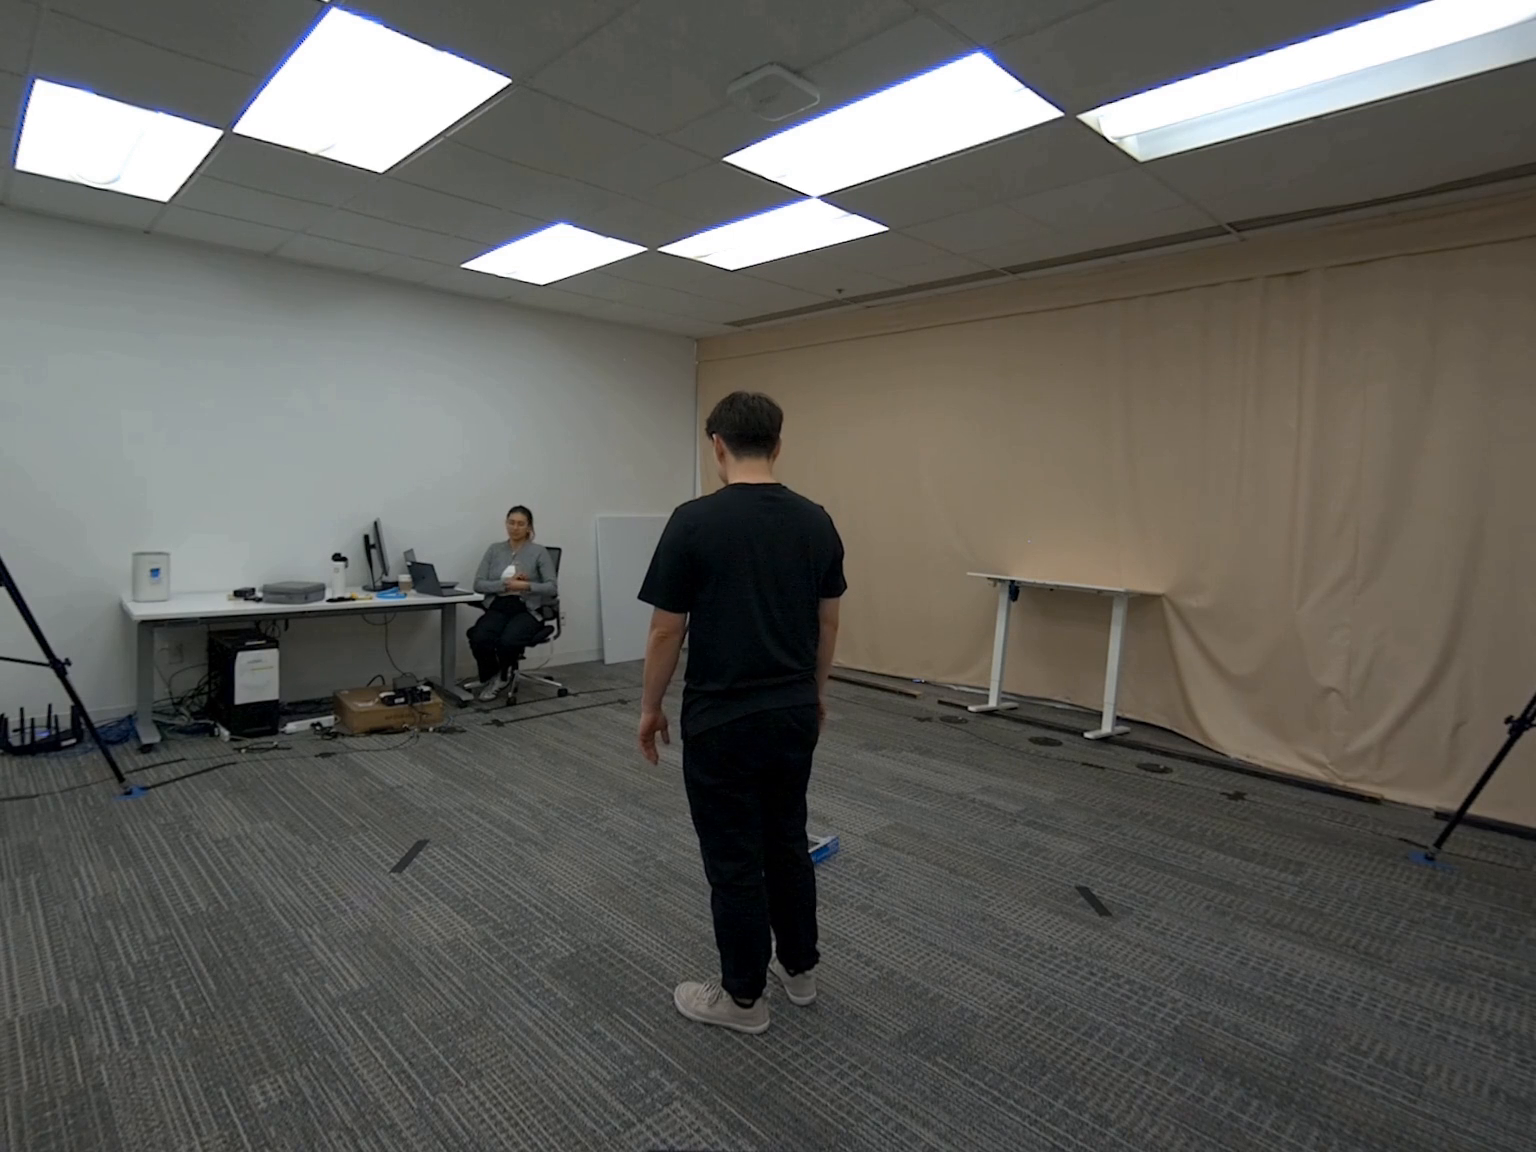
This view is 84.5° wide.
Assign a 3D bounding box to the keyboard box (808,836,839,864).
[{"bbox_3d":[0.080,1.072,3.223,0.180,0.059,0.427,4,6,37],"label":"keyboard box"}]
